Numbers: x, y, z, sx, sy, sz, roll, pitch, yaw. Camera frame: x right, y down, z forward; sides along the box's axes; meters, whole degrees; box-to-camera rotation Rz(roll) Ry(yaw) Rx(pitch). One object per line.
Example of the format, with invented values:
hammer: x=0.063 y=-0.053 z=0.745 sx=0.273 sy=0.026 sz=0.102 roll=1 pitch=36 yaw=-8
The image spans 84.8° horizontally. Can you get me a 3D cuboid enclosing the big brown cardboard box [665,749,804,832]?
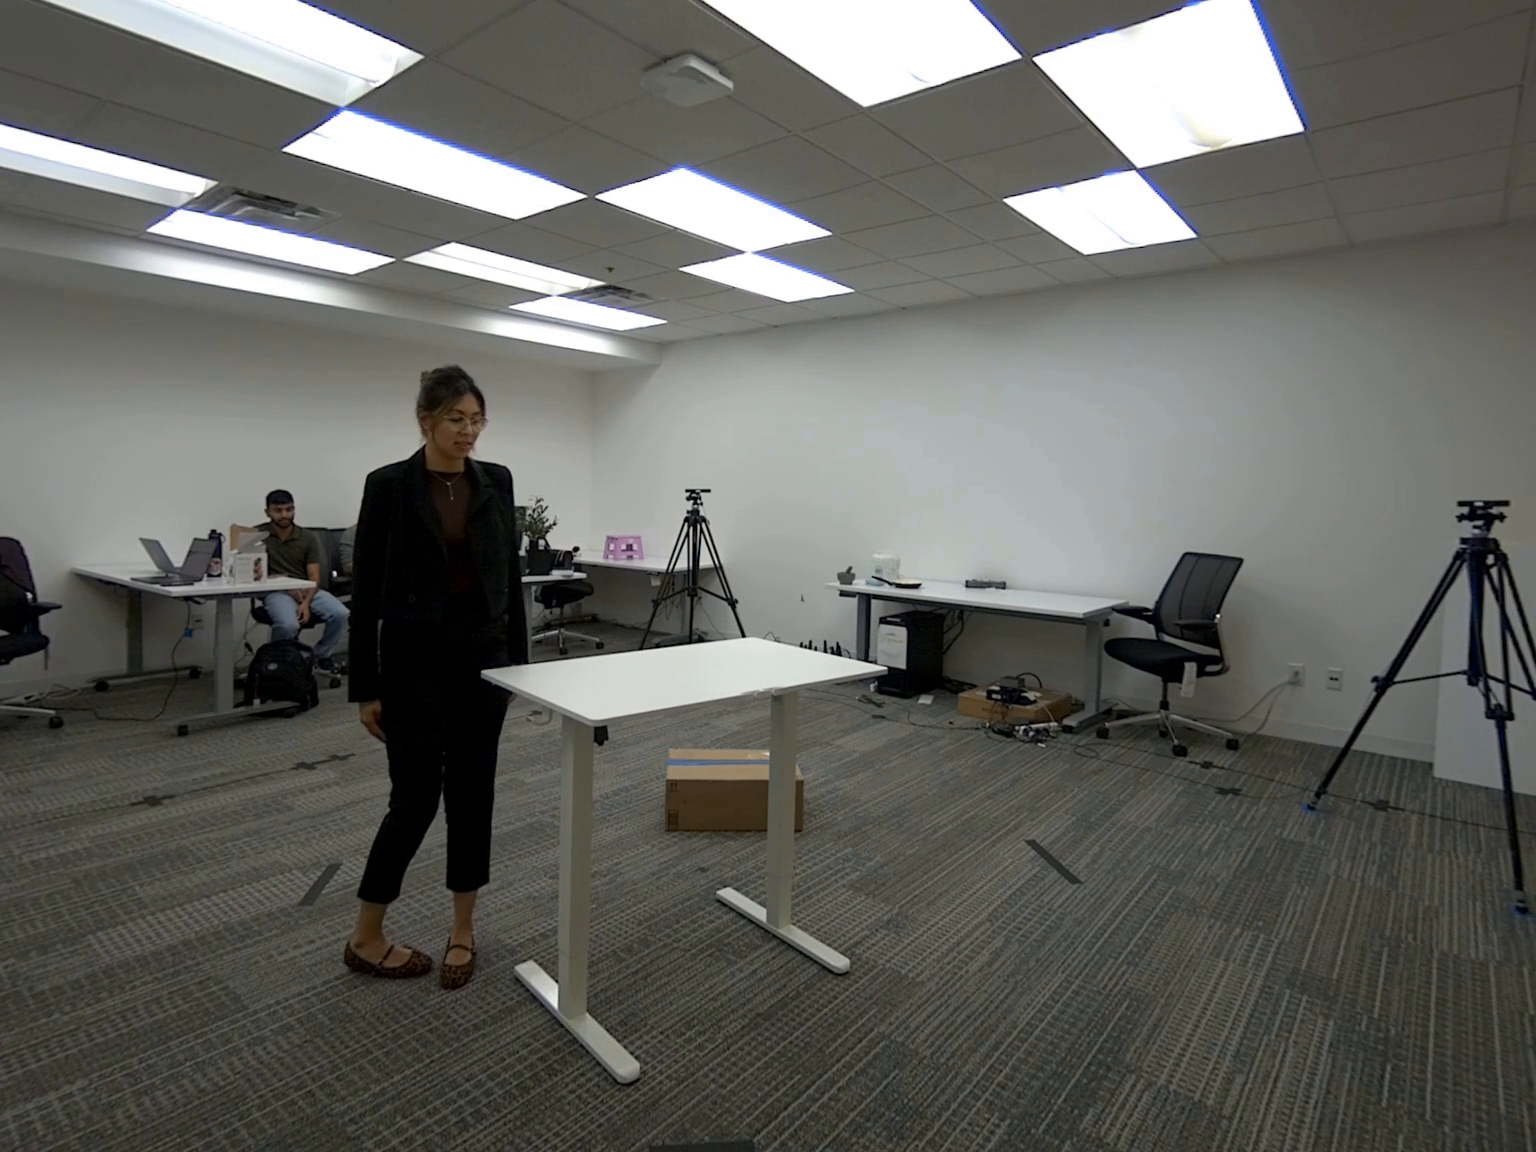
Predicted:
big brown cardboard box: x=-0.161 y=0.909 z=3.669 sx=0.587 sy=0.232 sz=0.421 roll=0 pitch=5 yaw=-4
